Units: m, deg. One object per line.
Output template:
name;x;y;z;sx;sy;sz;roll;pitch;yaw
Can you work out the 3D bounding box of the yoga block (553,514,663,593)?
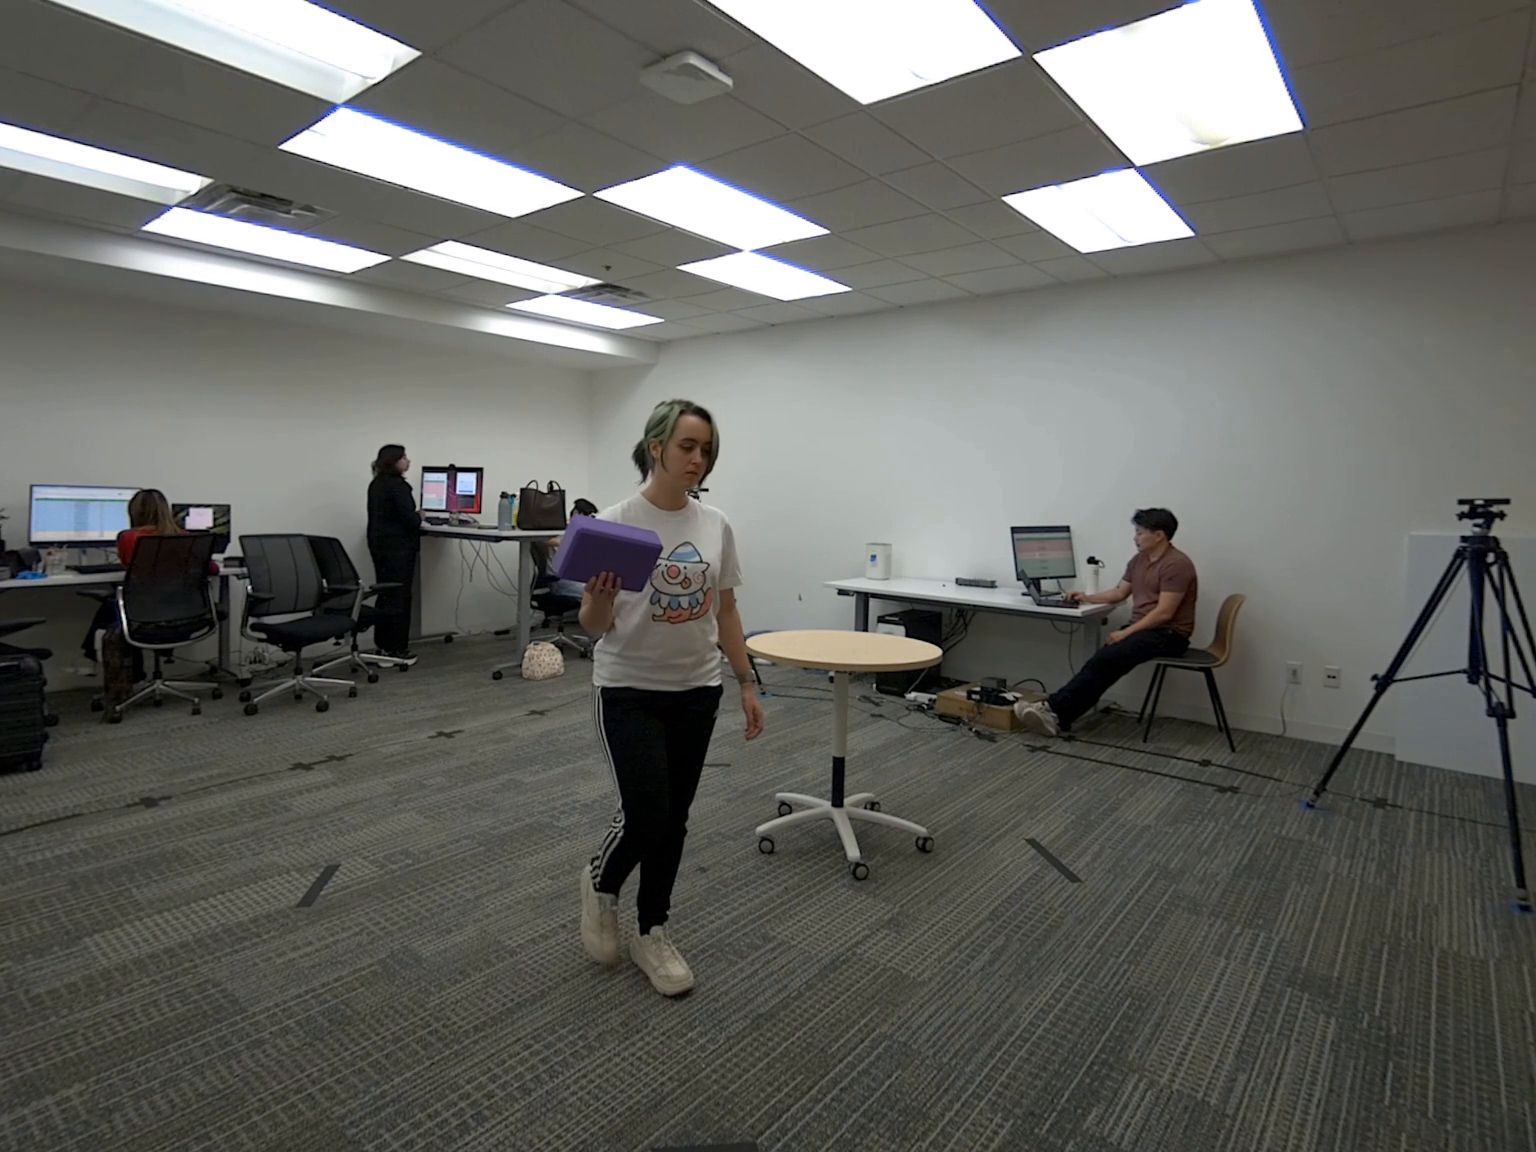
yoga block;-0.403;-0.053;2.051;0.222;0.148;0.079;13;28;-33
